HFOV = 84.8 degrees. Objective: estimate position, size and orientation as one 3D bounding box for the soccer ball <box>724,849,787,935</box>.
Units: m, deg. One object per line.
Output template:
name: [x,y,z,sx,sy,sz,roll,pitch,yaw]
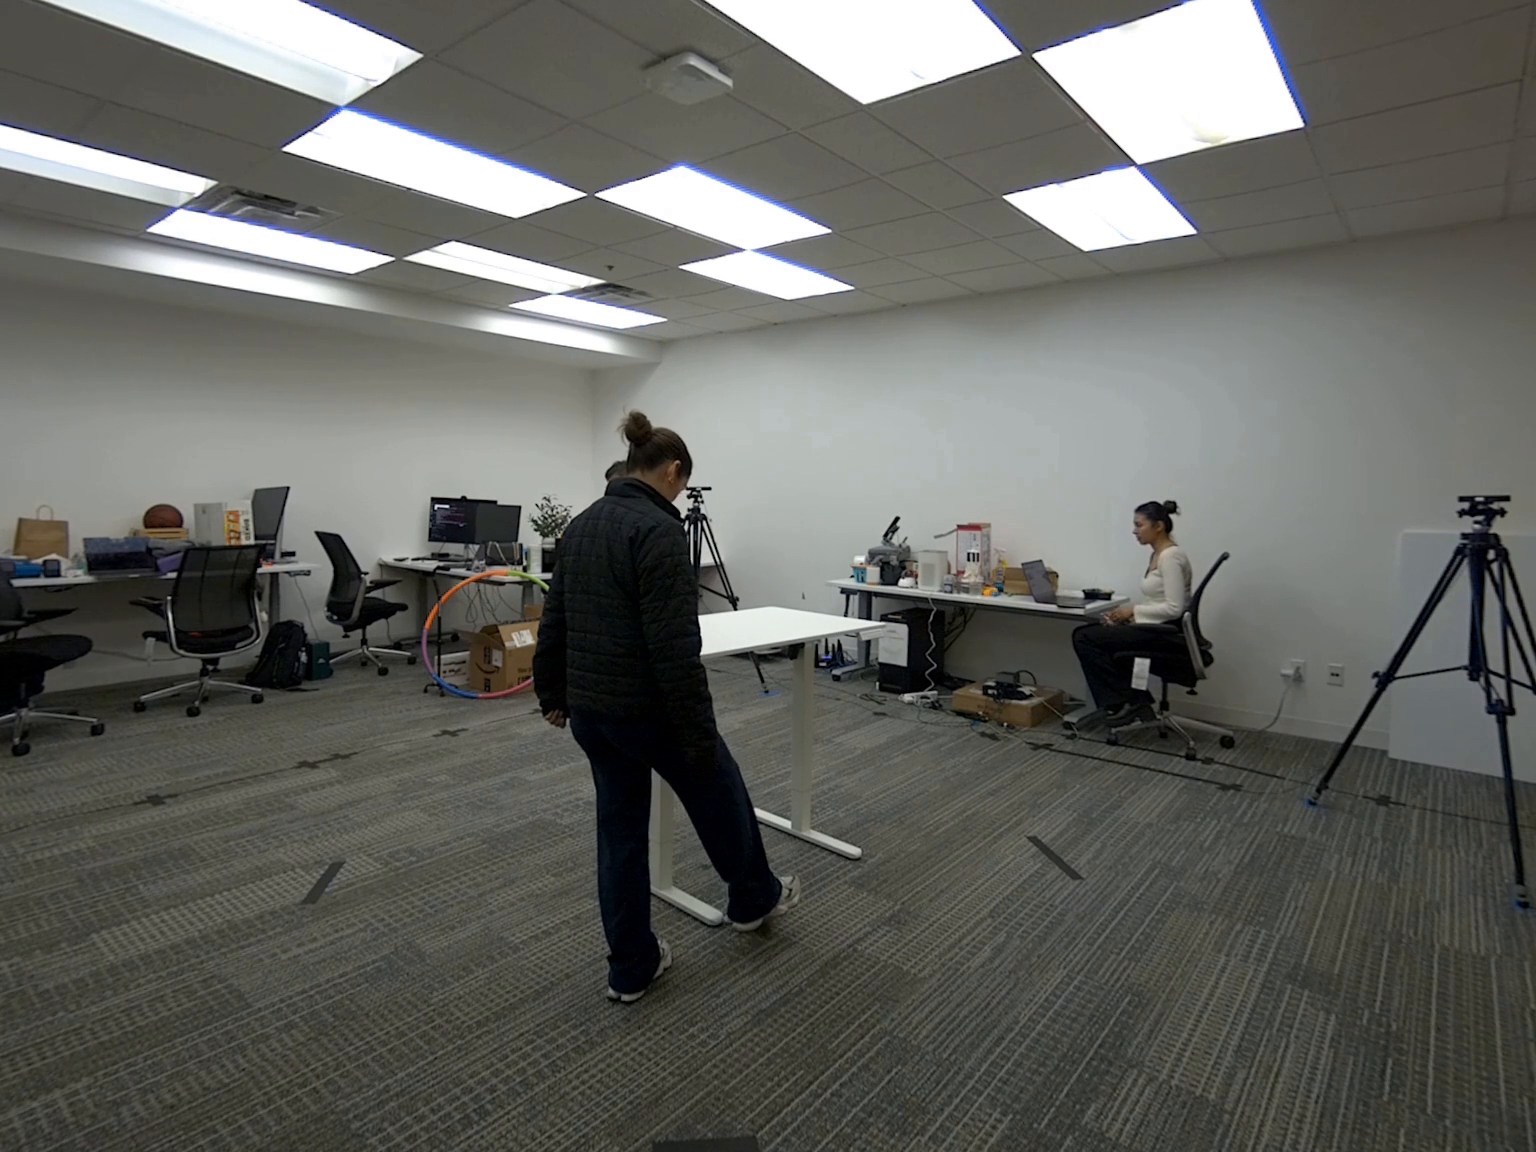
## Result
soccer ball: [-0.045,1.012,2.709,0.187,0.187,0.188,1,4,-2]
